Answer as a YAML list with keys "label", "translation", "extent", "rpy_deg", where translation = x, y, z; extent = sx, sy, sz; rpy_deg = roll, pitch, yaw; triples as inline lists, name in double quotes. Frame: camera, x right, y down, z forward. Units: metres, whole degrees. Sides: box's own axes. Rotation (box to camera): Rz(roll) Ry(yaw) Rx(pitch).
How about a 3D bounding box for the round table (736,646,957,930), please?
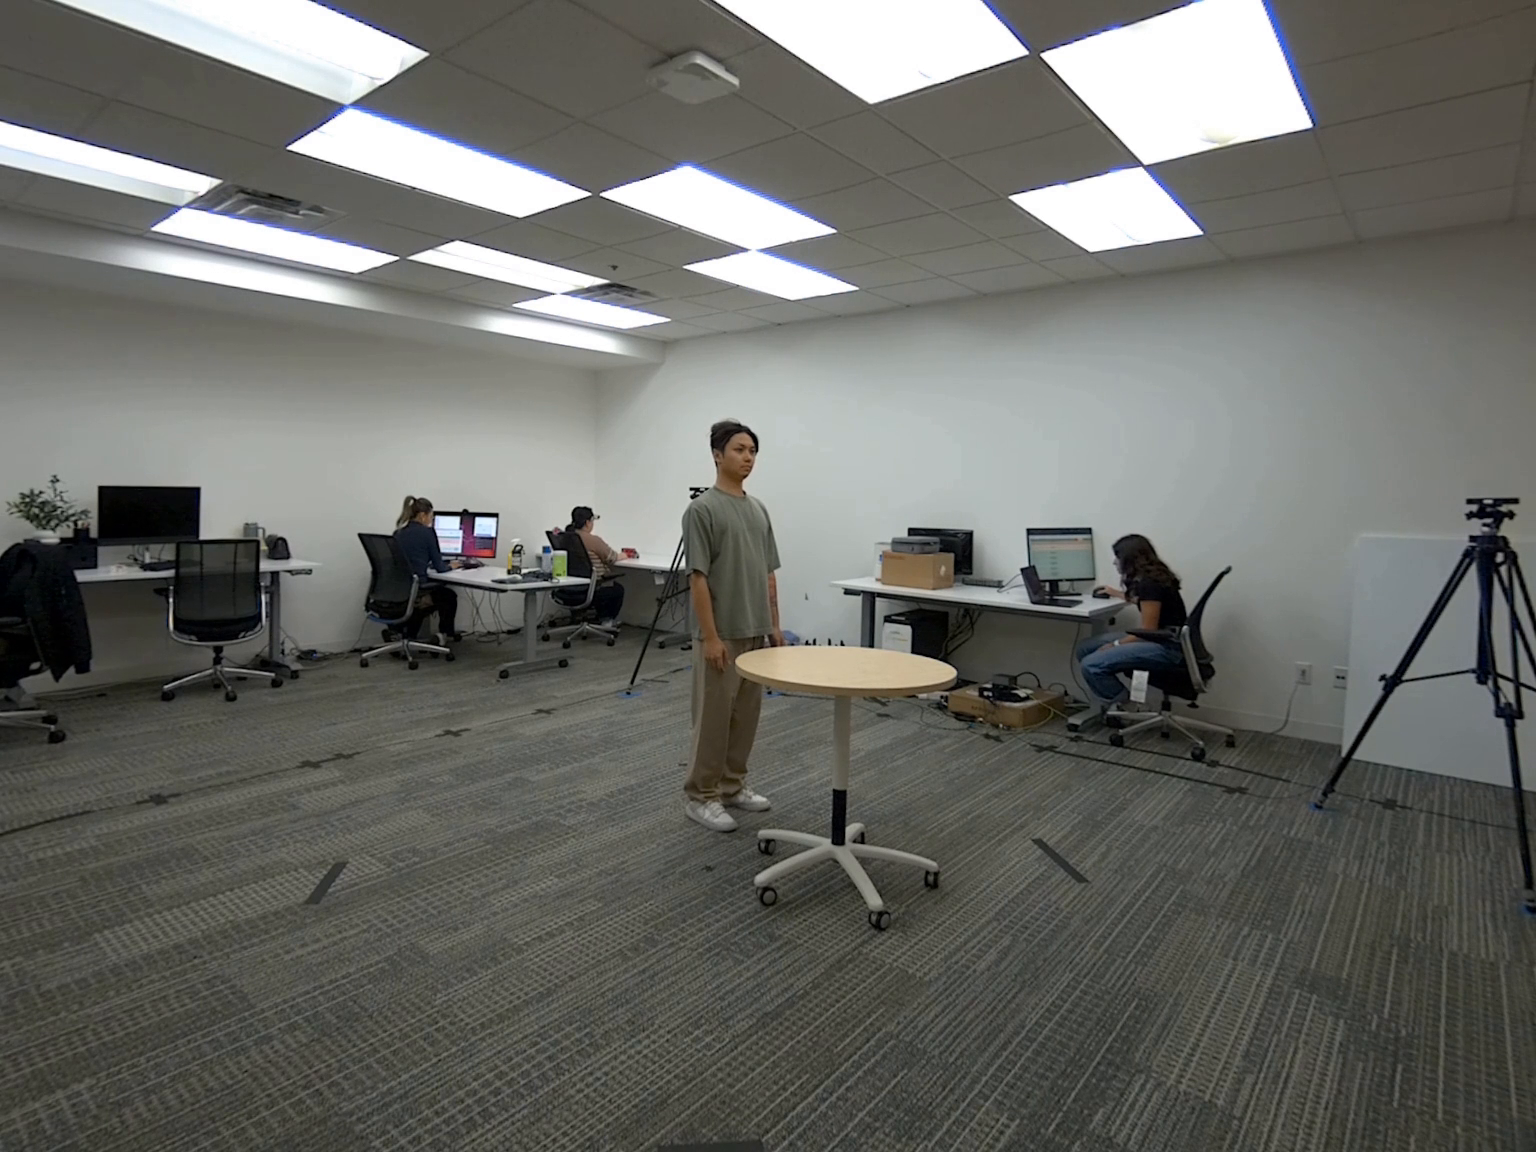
- label: "round table"
  translation: [0.251, 0.696, 2.999]
  extent: [0.784, 0.784, 0.788]
  rpy_deg: [1, 3, -2]
